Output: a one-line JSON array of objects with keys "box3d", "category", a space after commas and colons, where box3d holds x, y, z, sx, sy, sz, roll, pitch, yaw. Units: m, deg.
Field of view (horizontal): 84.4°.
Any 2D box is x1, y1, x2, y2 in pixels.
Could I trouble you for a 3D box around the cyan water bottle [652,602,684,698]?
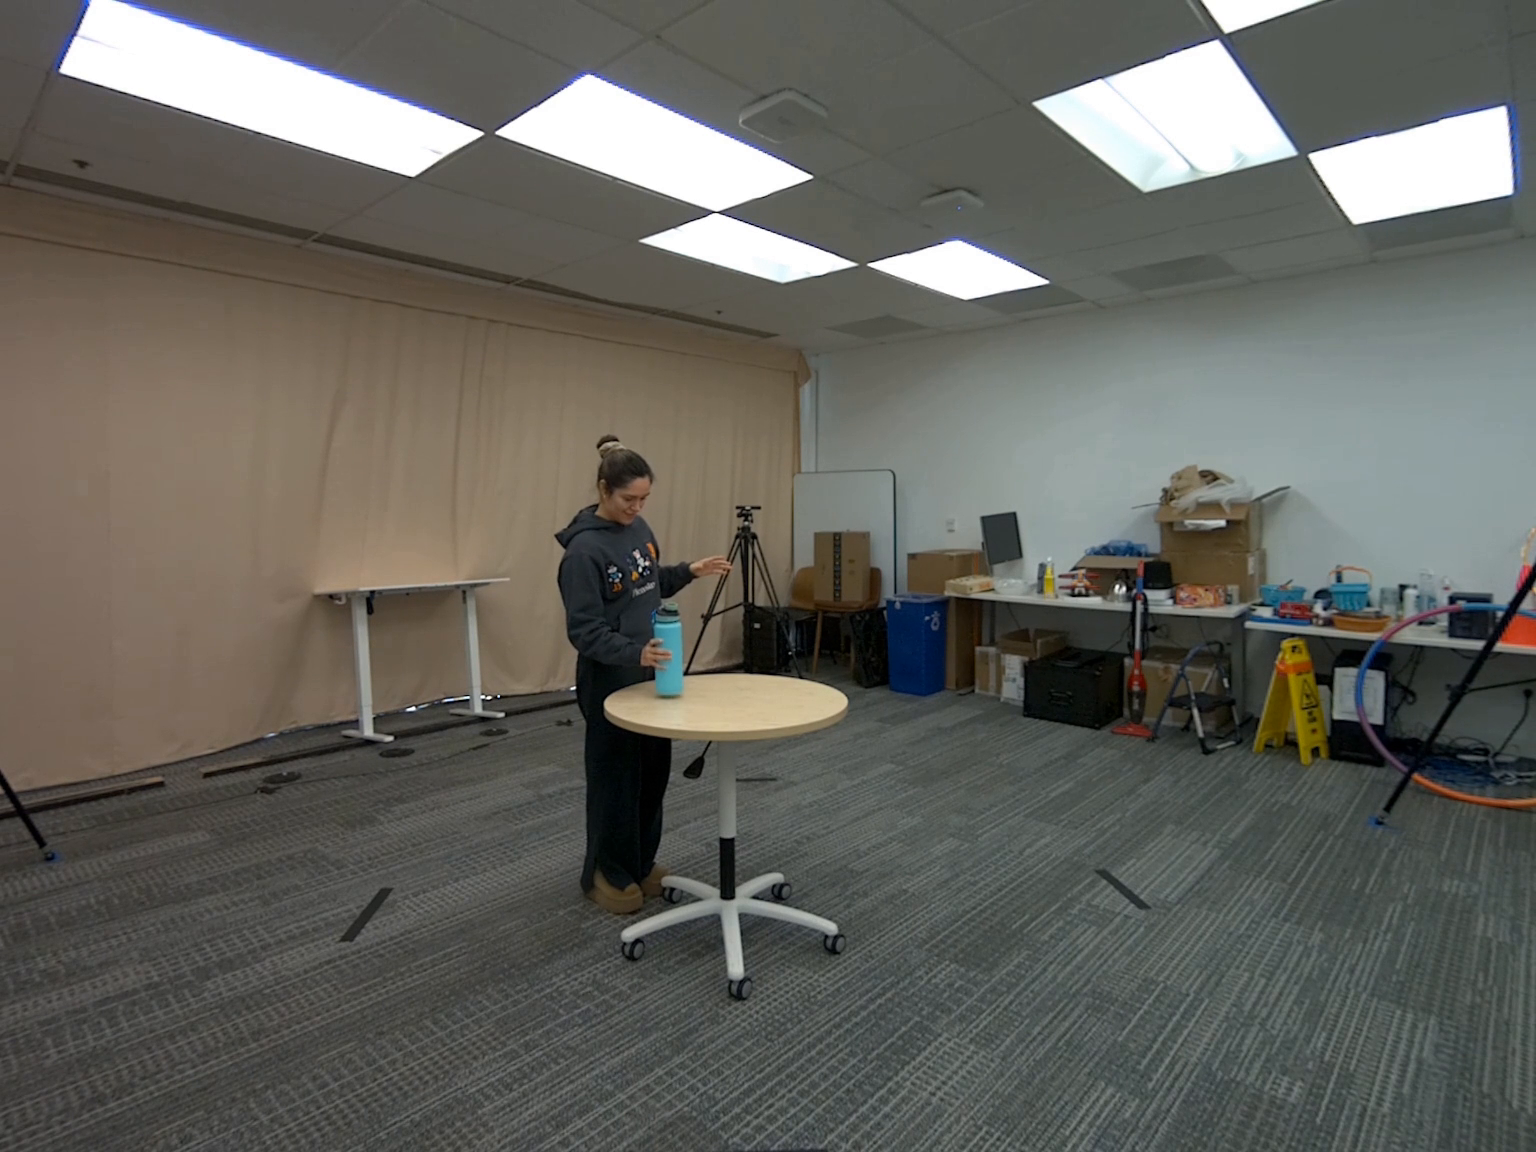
[{"box3d": [-0.312, 0.233, 2.673, 0.092, 0.282, 0.093, -2, 6, -2], "category": "cyan water bottle"}]
